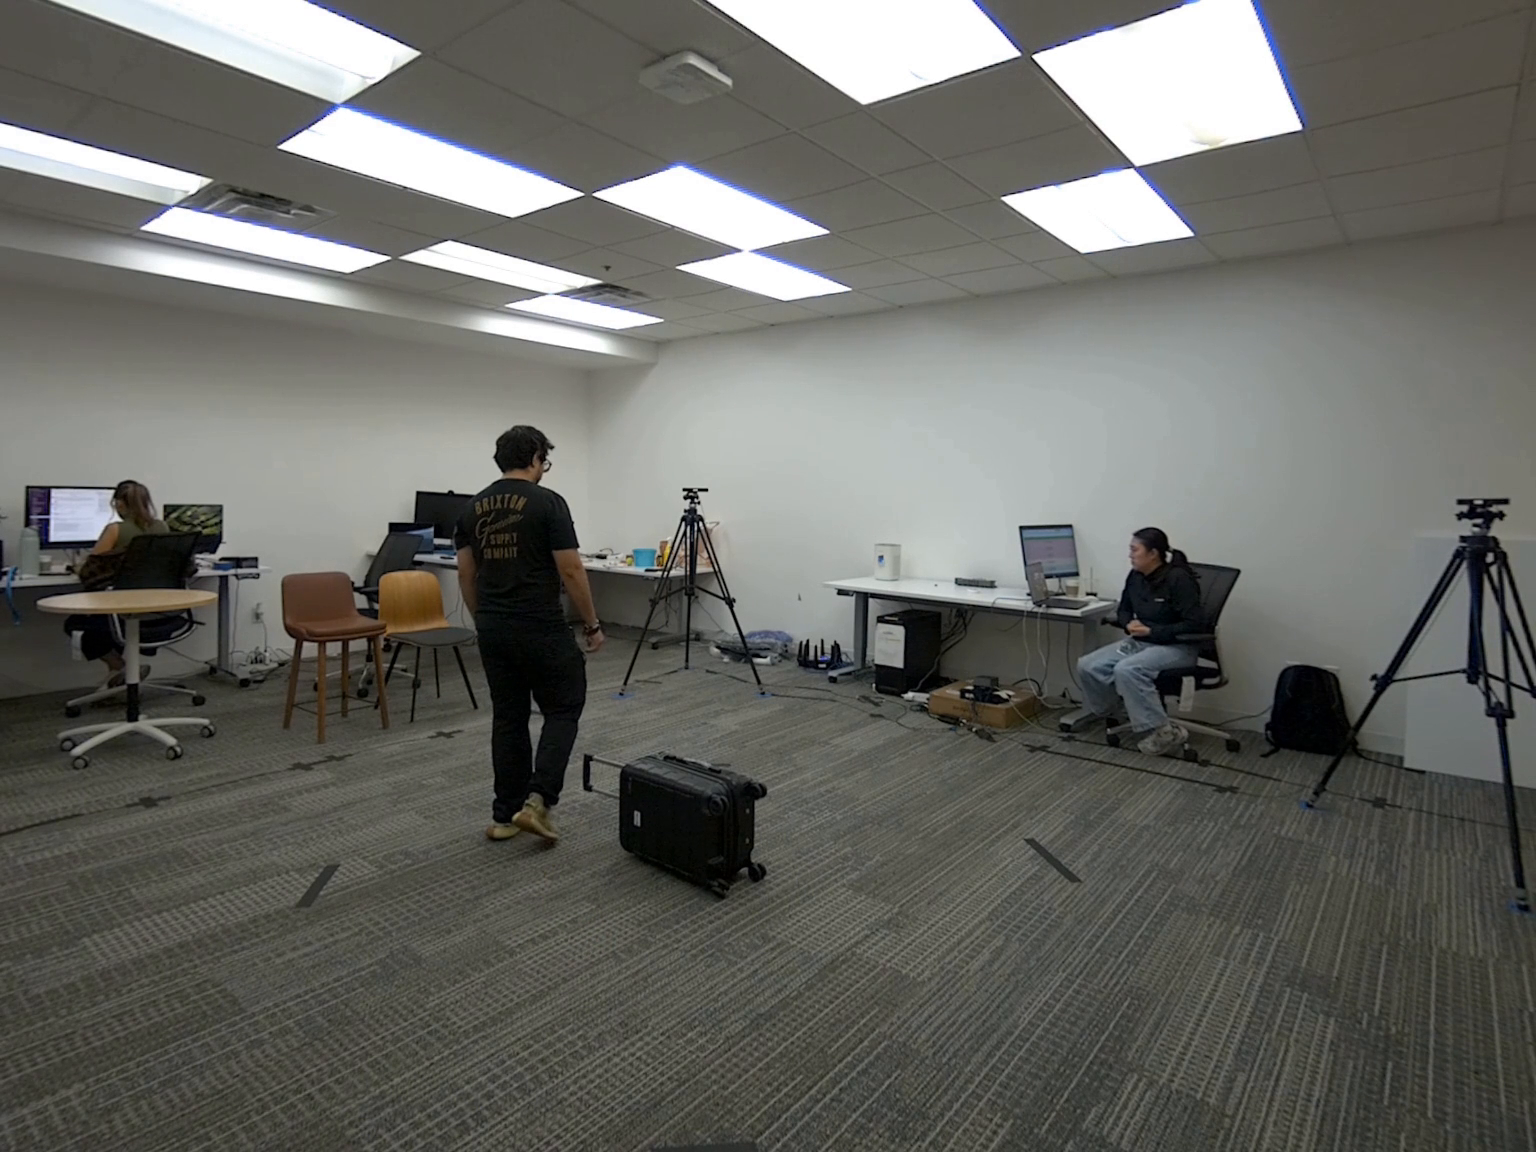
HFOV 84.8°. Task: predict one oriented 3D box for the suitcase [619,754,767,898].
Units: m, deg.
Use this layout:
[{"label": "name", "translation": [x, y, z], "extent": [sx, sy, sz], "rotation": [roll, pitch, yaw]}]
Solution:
[{"label": "suitcase", "translation": [-0.471, 0.865, 3.252], "extent": [1.011, 0.383, 0.249], "rotation": [5, 5, 40]}]
